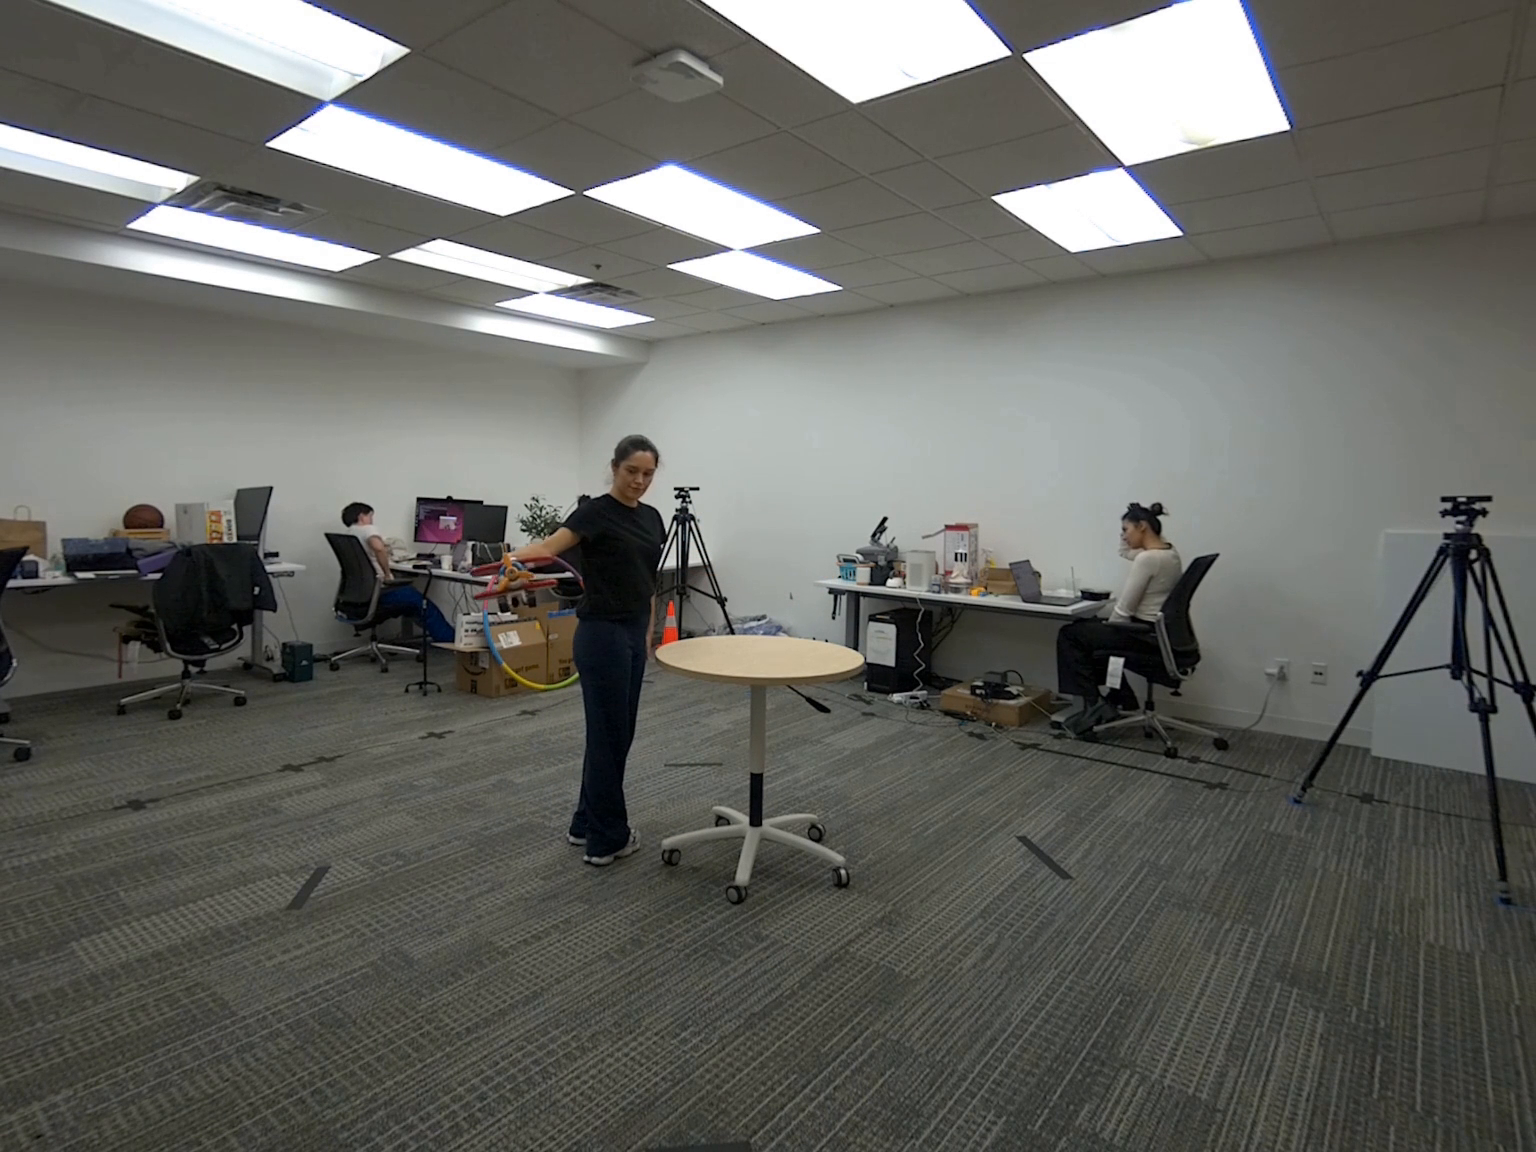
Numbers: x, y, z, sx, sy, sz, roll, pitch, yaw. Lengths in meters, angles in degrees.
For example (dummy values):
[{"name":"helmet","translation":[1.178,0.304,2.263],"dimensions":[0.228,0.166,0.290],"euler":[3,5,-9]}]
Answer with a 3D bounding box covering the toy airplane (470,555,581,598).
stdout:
[{"name":"toy airplane","translation":[-0.799,0.023,2.690],"dimensions":[0.245,0.156,0.266],"euler":[-13,5,-34]}]
